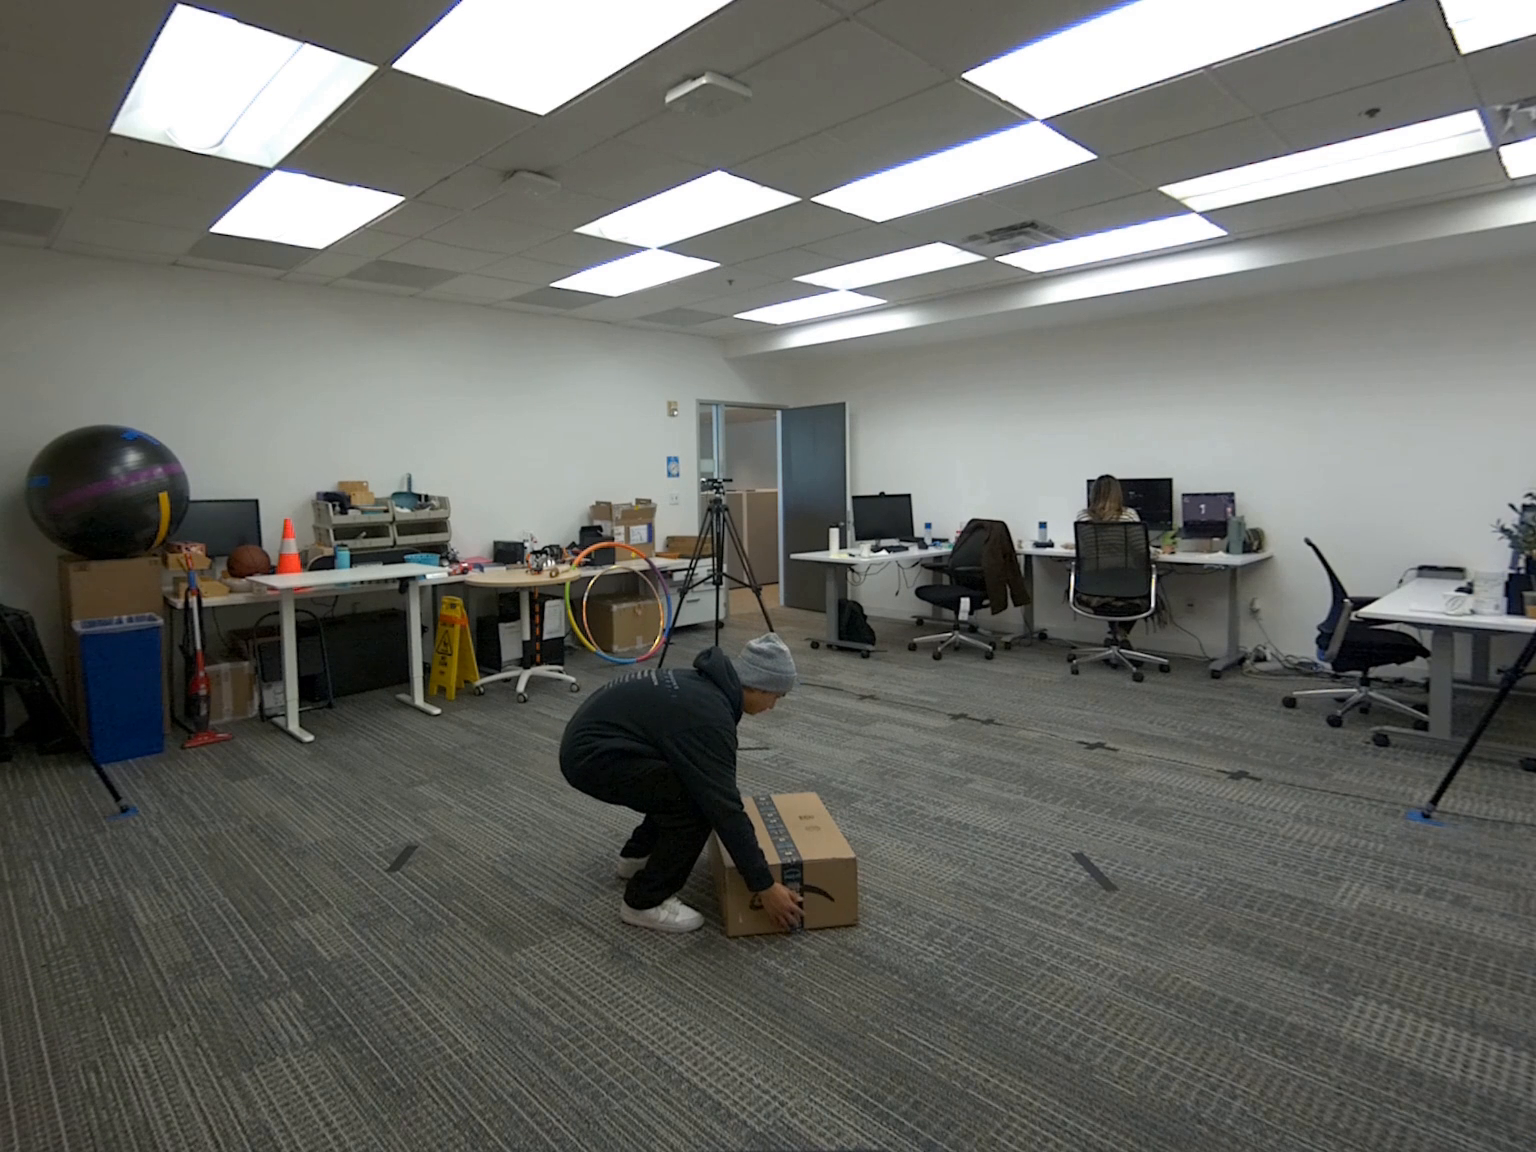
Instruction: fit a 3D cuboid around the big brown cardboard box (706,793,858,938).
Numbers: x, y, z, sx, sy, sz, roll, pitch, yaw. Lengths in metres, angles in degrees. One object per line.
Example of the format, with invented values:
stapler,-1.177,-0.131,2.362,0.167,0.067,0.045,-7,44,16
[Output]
big brown cardboard box,0.034,0.960,2.902,0.414,0.232,0.597,-2,7,-9
